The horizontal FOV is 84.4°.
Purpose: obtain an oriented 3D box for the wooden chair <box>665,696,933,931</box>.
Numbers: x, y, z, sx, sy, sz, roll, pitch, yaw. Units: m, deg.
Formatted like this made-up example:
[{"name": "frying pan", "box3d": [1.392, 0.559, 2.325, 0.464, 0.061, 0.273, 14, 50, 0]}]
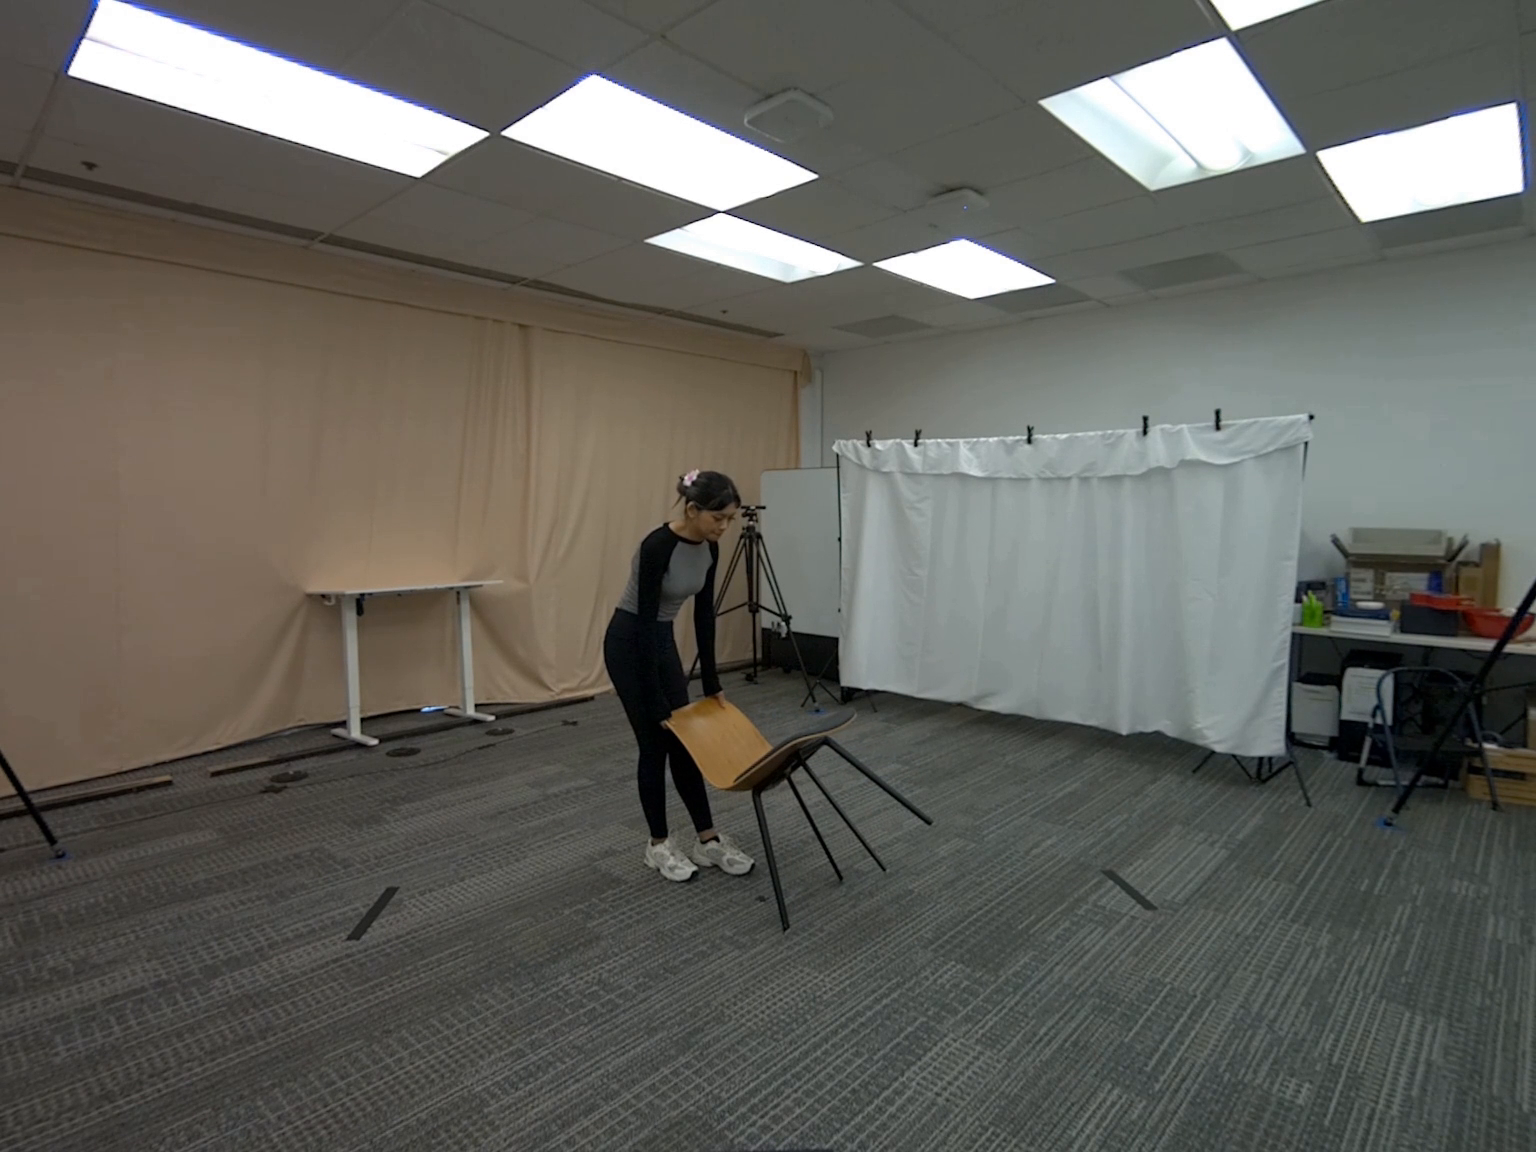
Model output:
[{"name": "wooden chair", "box3d": [0.087, 0.667, 2.955, 0.526, 0.897, 0.465, -48, -21, 25]}]
